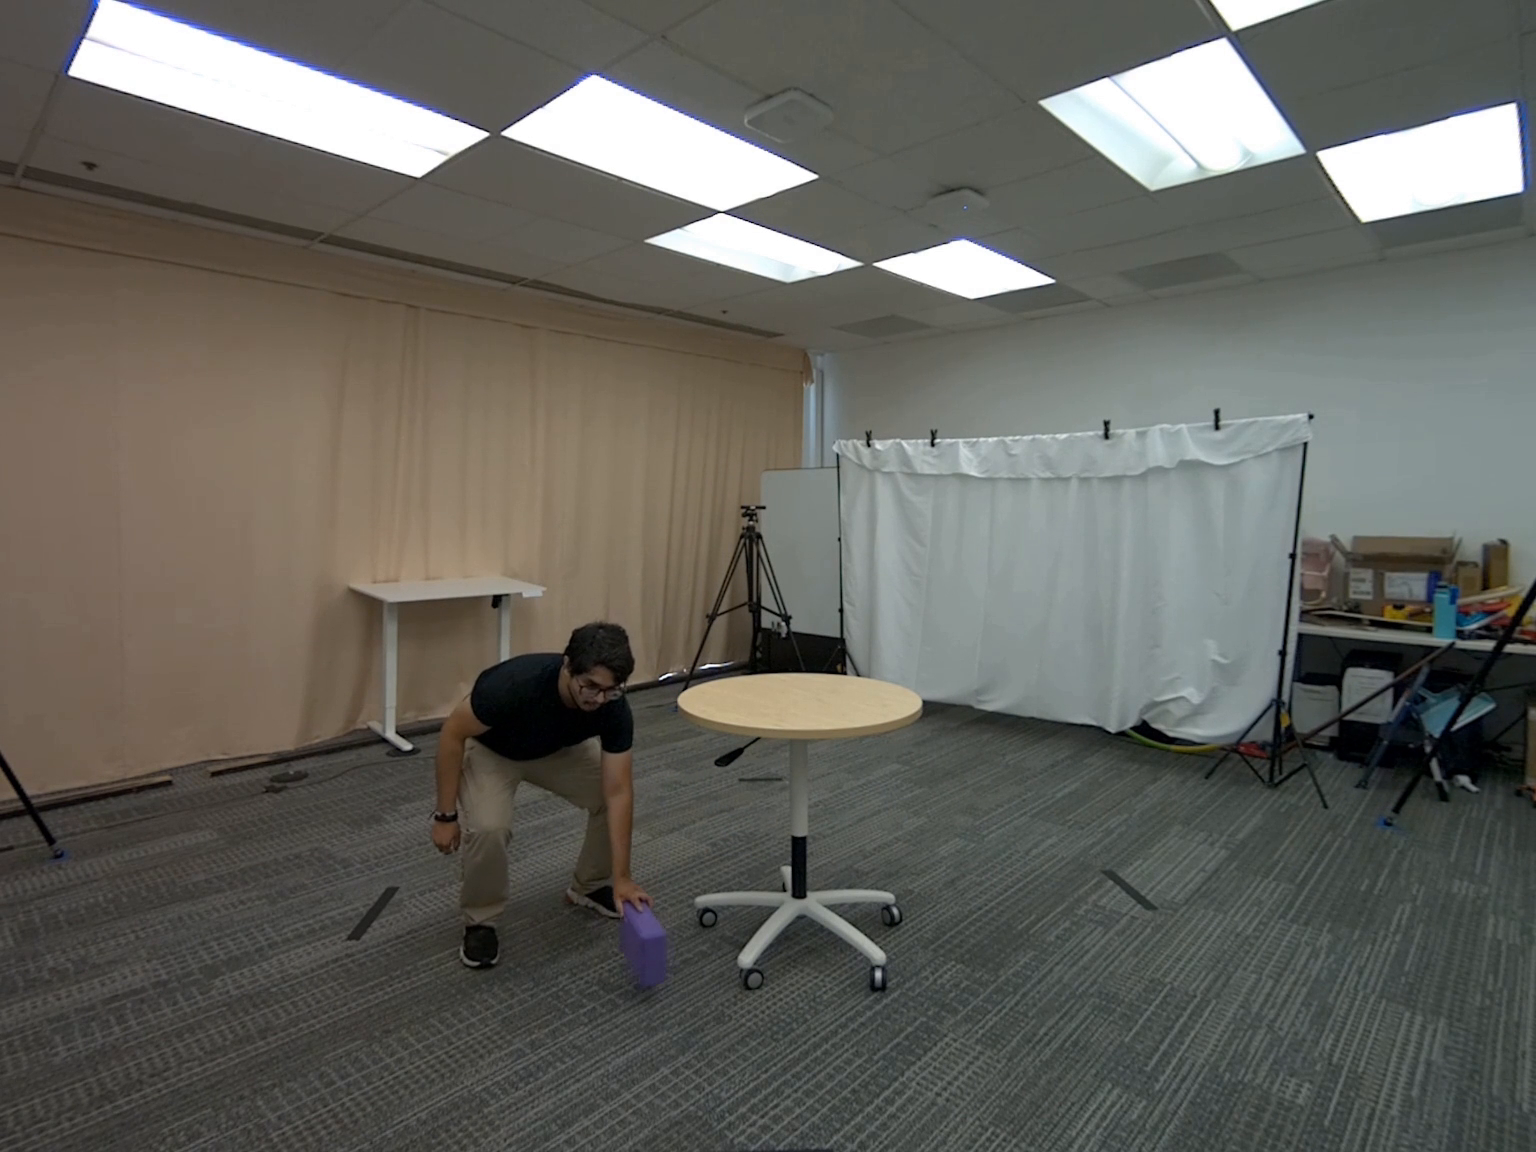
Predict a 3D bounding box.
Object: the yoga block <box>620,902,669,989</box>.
[{"bbox_3d":[-0.362,1.056,2.423,0.075,0.148,0.235,0,5,-23],"label":"yoga block"}]
